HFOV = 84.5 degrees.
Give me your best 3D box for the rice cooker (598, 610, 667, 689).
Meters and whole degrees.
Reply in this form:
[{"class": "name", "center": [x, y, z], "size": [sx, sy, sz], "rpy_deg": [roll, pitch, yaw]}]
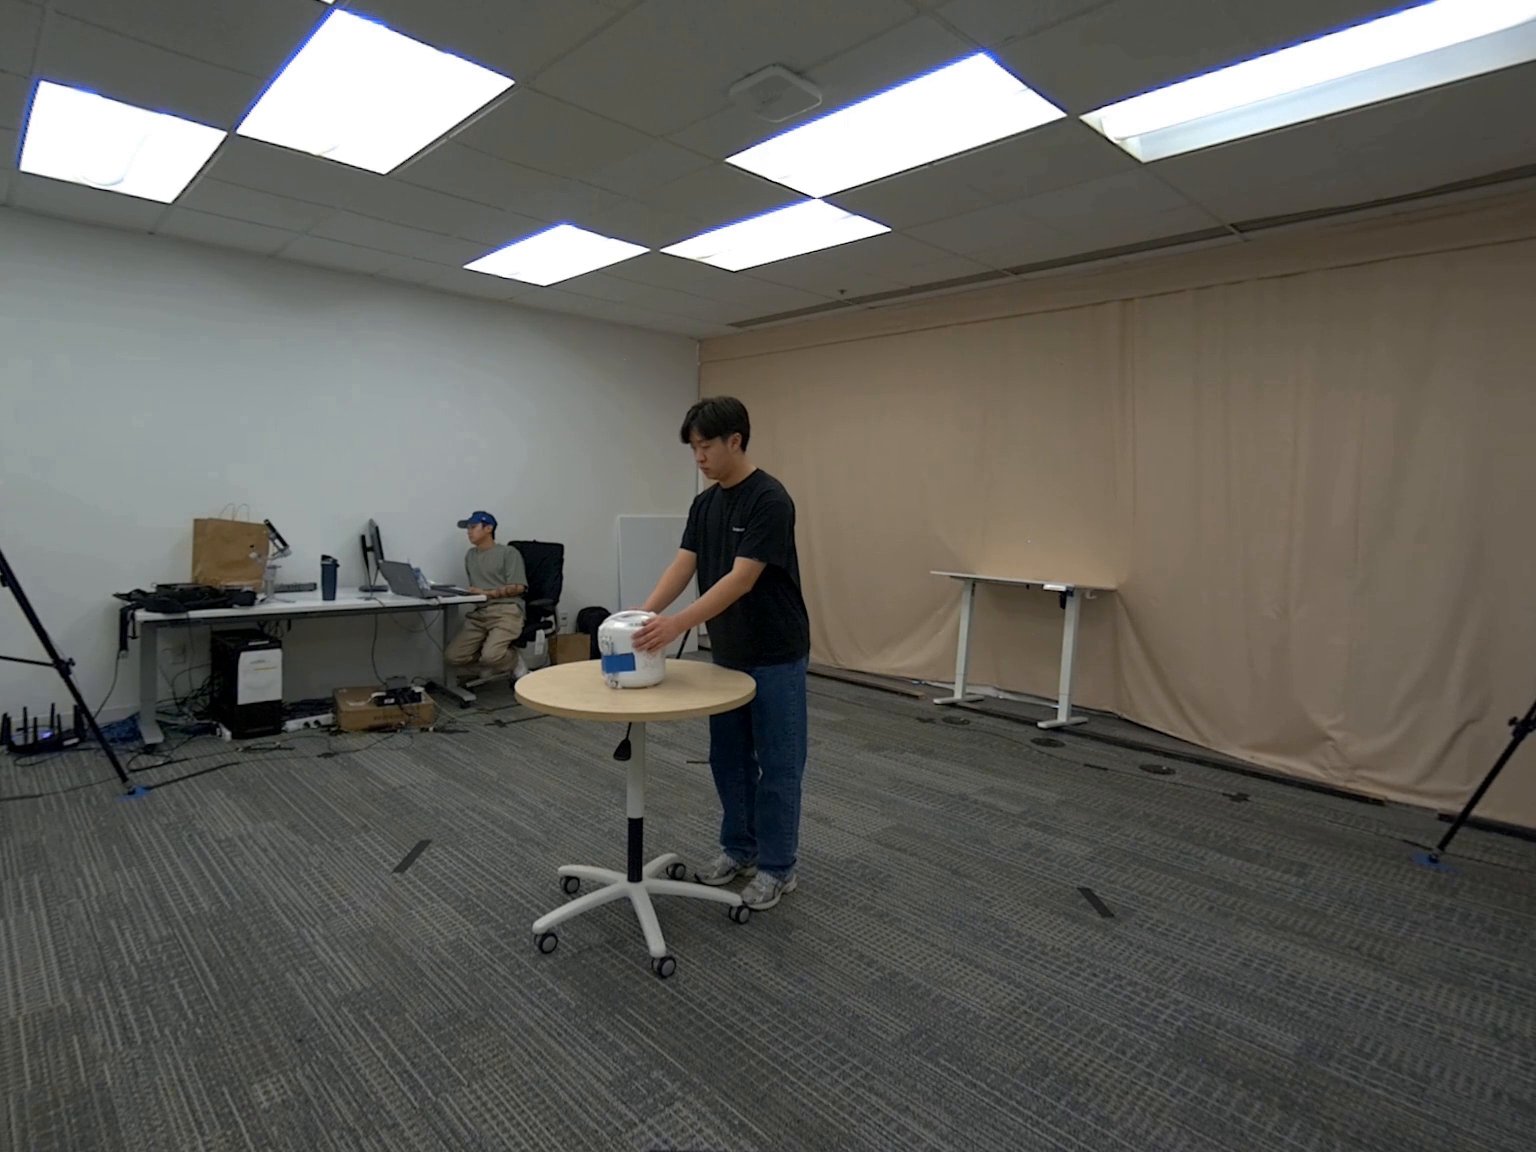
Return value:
[{"class": "rice cooker", "center": [-0.434, 0.227, 2.689], "size": [0.218, 0.232, 0.220], "rpy_deg": [2, 4, -13]}]
